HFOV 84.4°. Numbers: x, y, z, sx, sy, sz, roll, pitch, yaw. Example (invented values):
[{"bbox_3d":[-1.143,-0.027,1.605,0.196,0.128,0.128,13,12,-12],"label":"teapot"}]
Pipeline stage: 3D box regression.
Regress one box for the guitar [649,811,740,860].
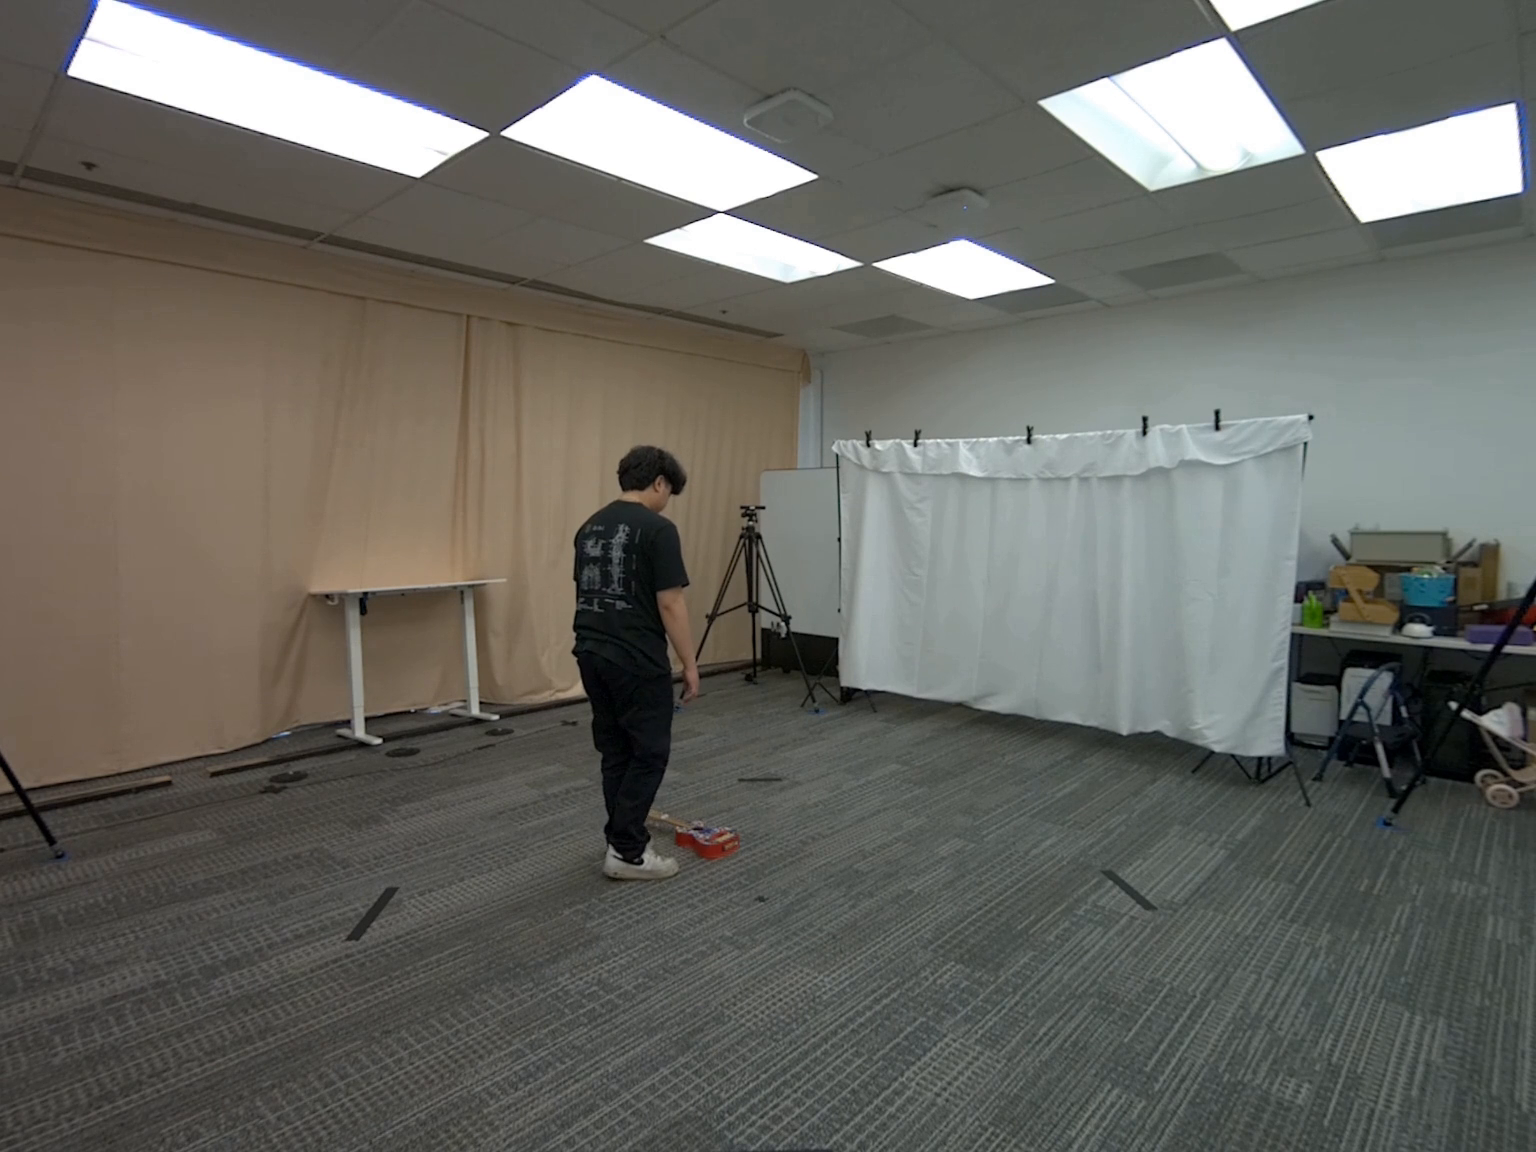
[{"bbox_3d":[-0.327,1.066,3.548,0.187,0.070,0.514,-4,6,-41],"label":"guitar"}]
